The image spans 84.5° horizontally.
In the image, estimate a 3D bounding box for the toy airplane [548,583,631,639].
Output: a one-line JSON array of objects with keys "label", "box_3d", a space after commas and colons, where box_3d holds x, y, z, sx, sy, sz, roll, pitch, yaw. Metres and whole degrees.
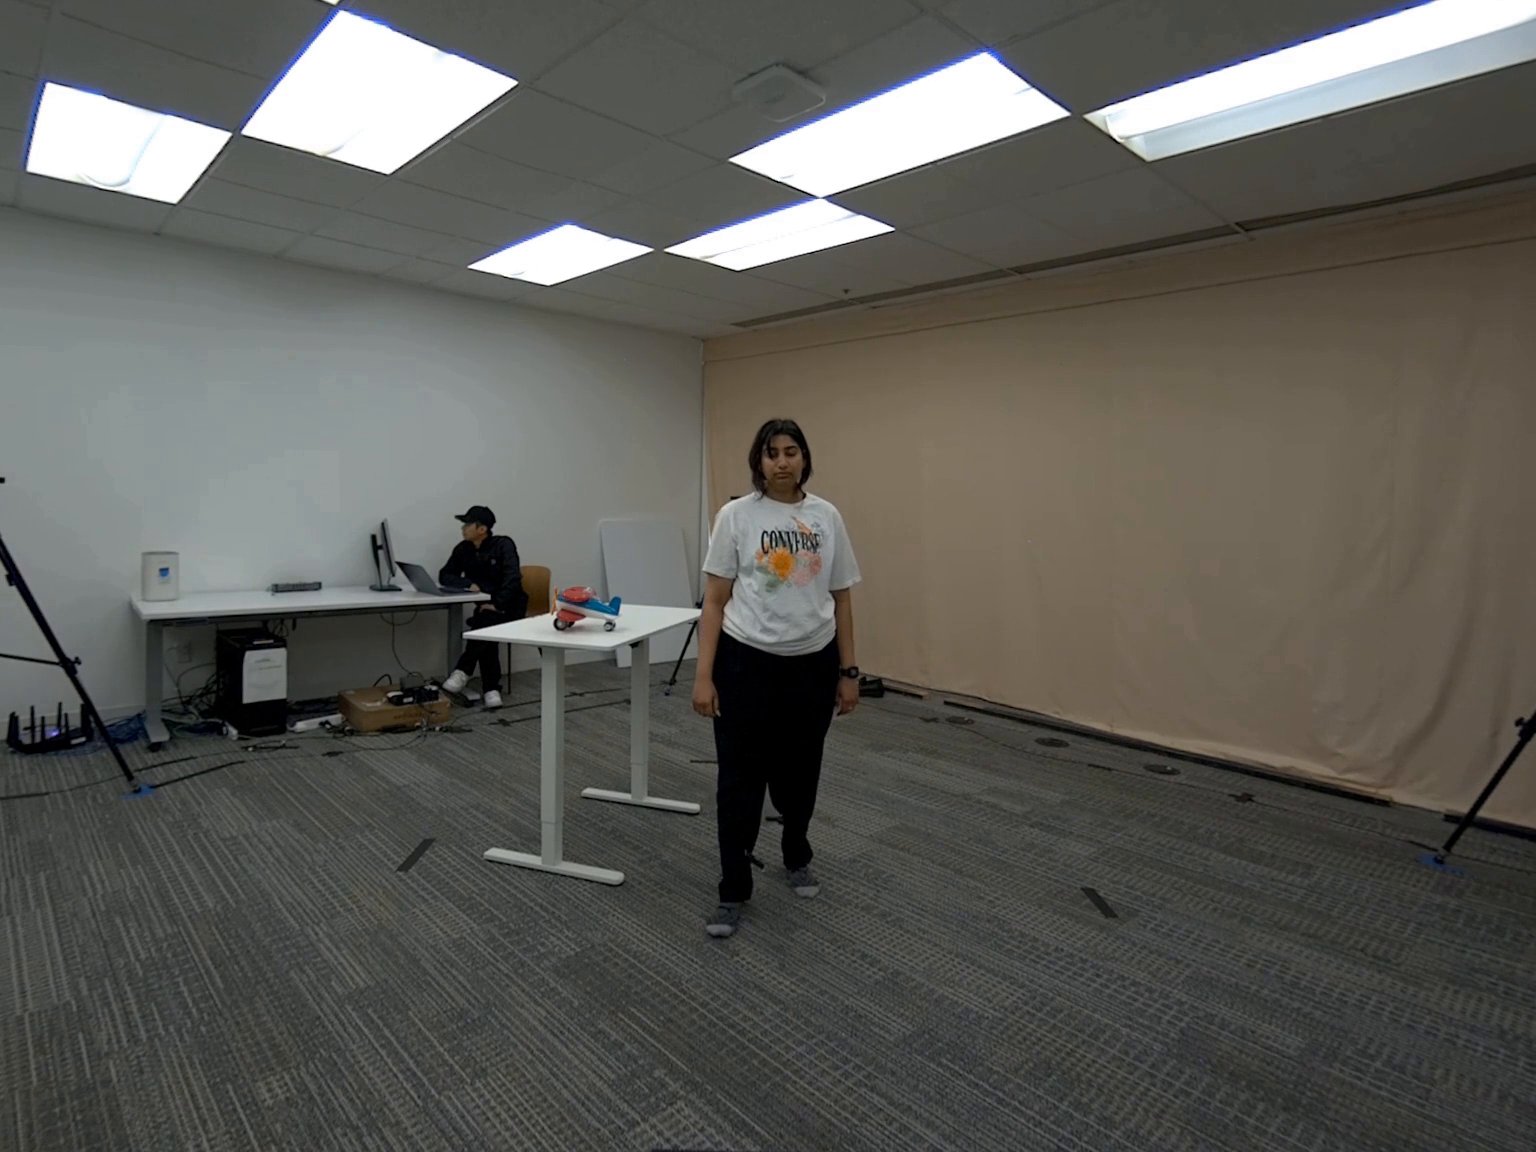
[{"label": "toy airplane", "box_3d": [-0.680, 0.125, 3.197, 0.255, 0.156, 0.255, -4, 5, -20]}]
